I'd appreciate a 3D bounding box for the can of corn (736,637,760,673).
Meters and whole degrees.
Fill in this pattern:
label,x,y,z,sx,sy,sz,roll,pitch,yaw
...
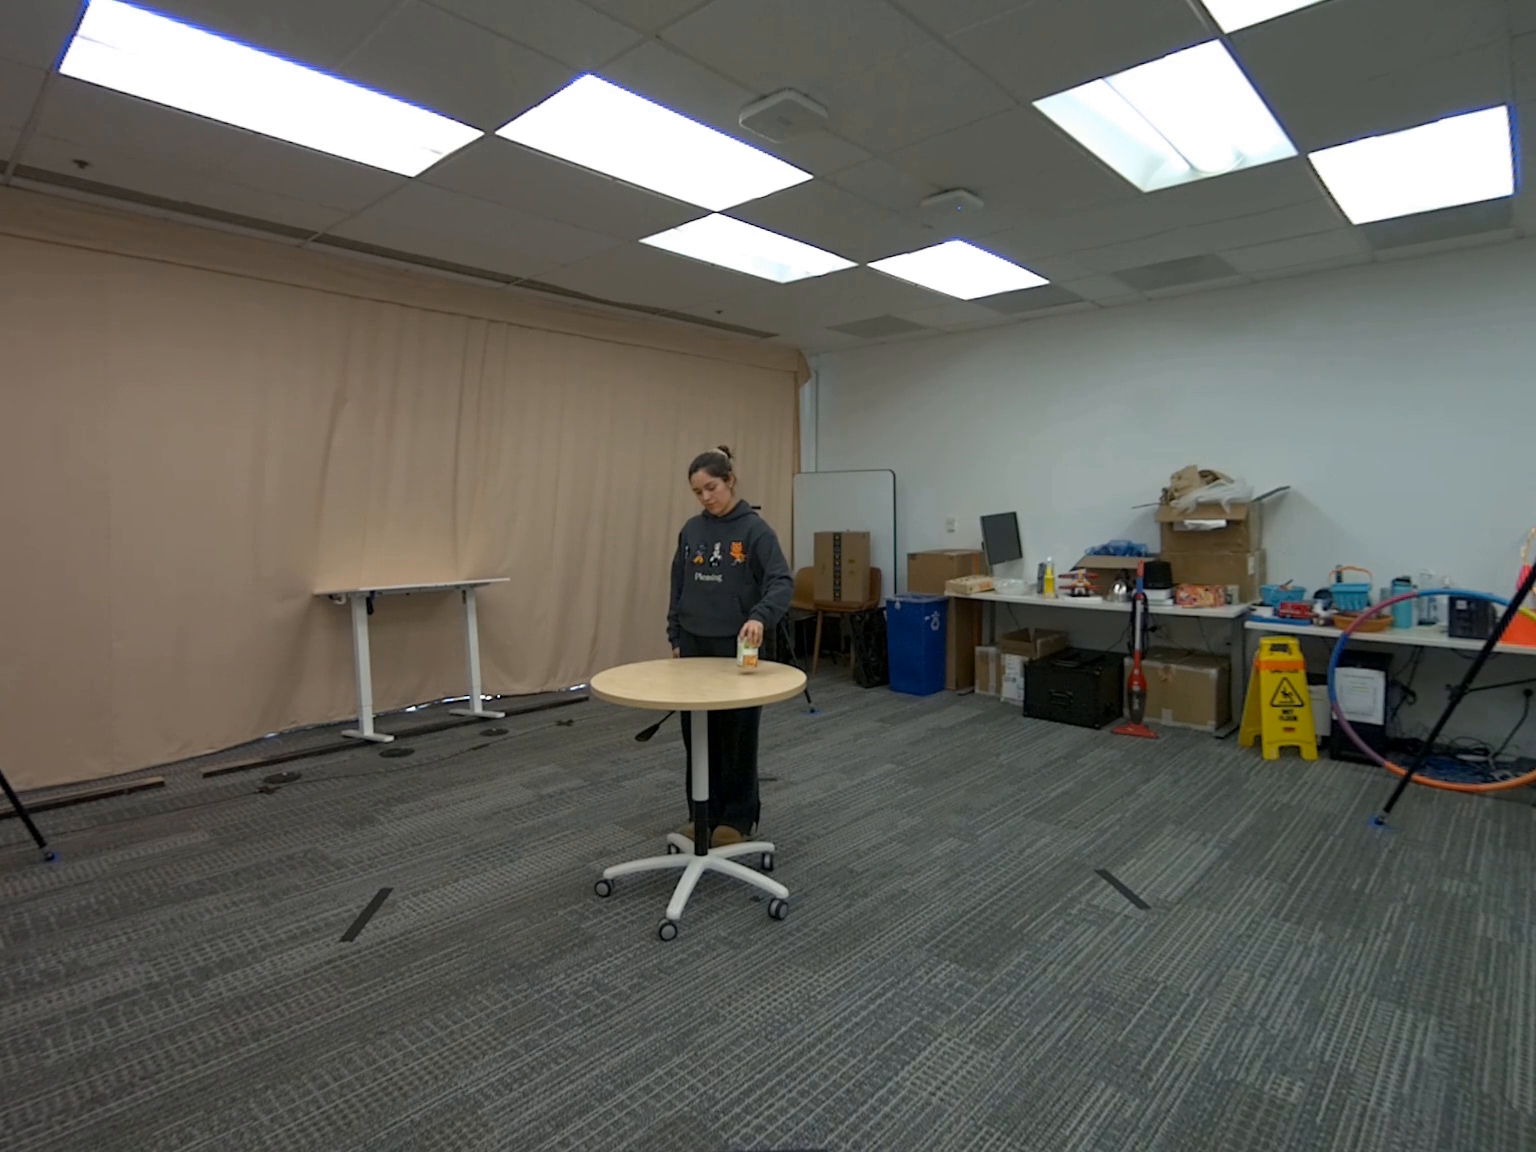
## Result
label,x,y,z,sx,sy,sz,roll,pitch,yaw
can of corn,-0.057,0.272,3.045,0.074,0.111,0.074,3,1,-2
